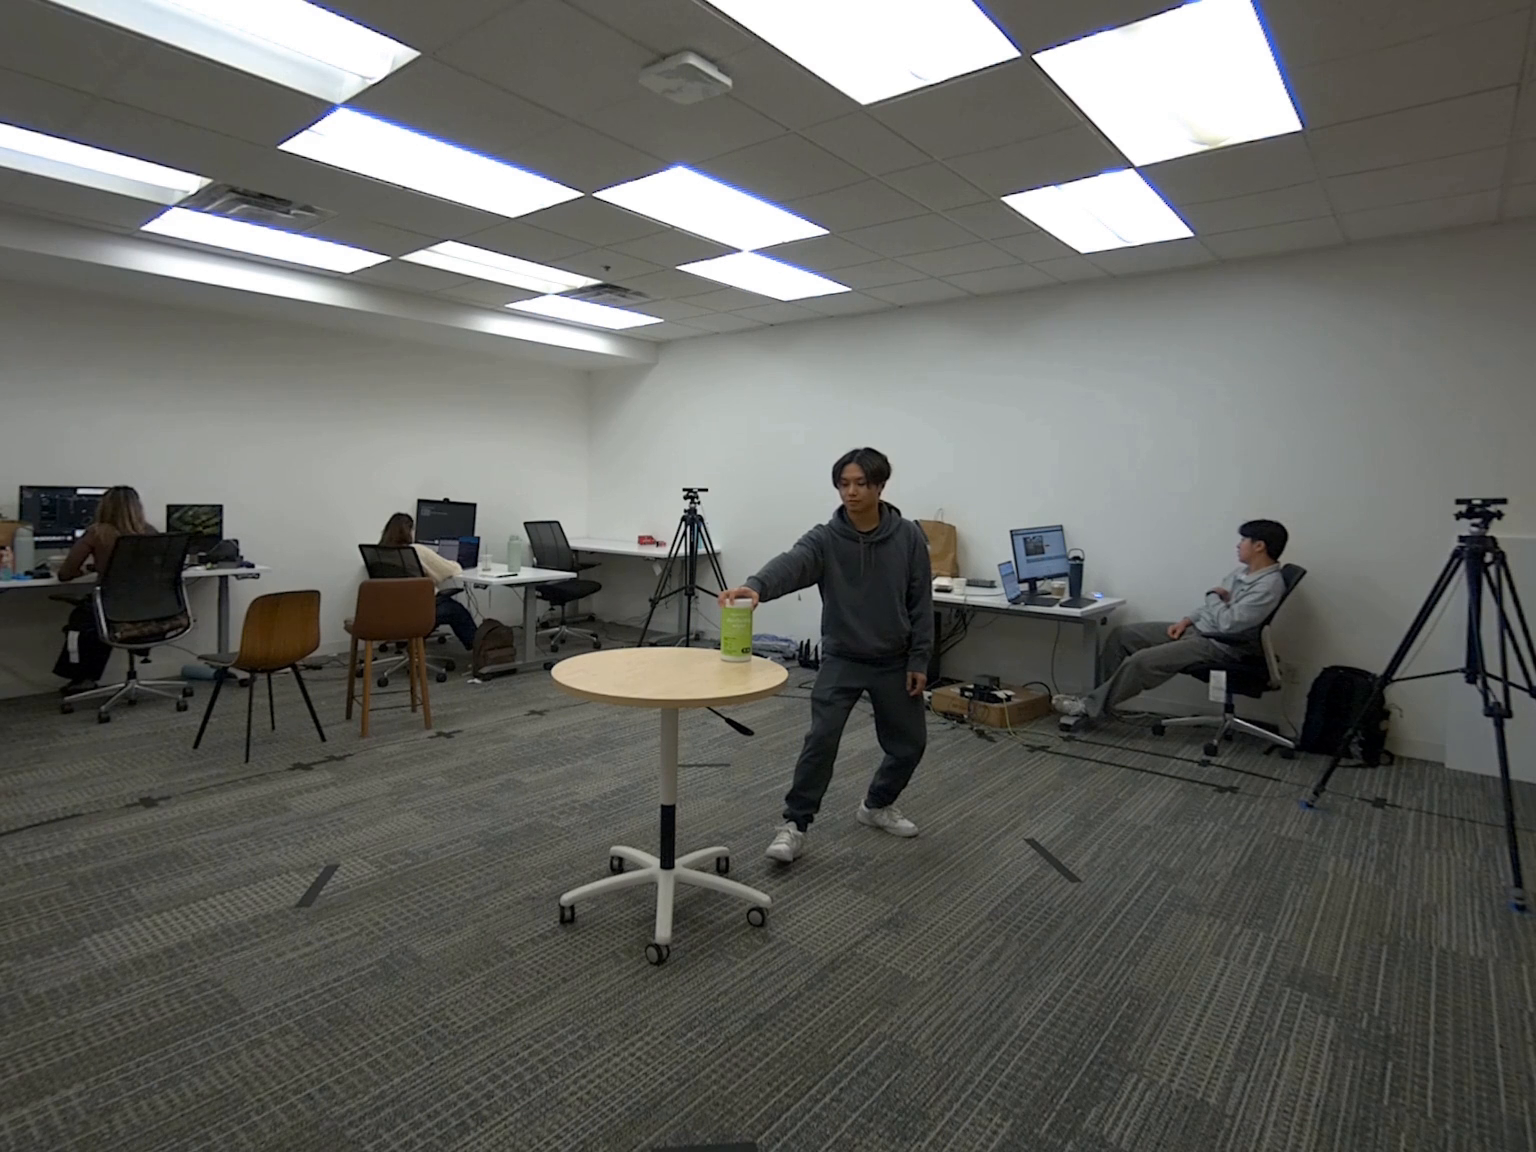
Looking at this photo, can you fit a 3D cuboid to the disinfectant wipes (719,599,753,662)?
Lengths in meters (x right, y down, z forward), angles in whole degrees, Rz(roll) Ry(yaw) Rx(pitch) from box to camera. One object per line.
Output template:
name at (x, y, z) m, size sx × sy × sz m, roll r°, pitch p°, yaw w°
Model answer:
disinfectant wipes at (-0.121, 0.181, 2.956) m, size 0.118 × 0.217 × 0.118 m, roll 4°, pitch 1°, yaw -2°
